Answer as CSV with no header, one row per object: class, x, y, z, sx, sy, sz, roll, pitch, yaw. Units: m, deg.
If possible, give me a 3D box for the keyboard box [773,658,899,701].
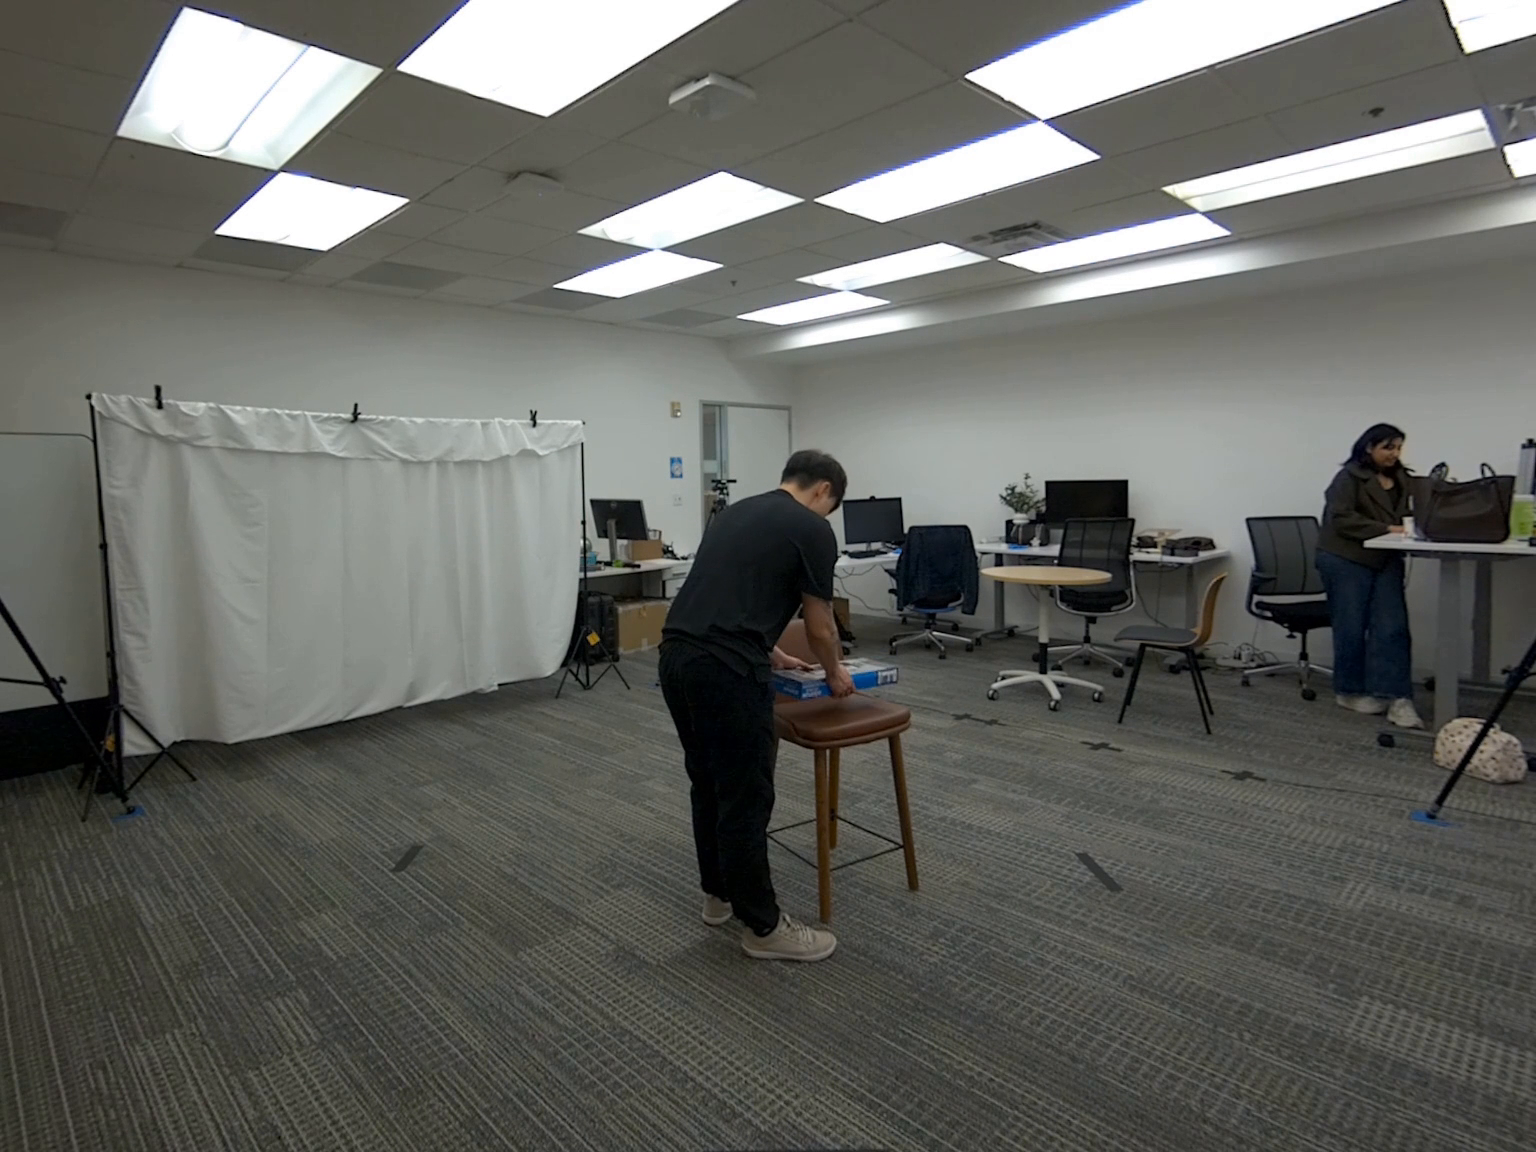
keyboard box,0.239,0.348,2.868,0.426,0.059,0.181,-2,7,-32
